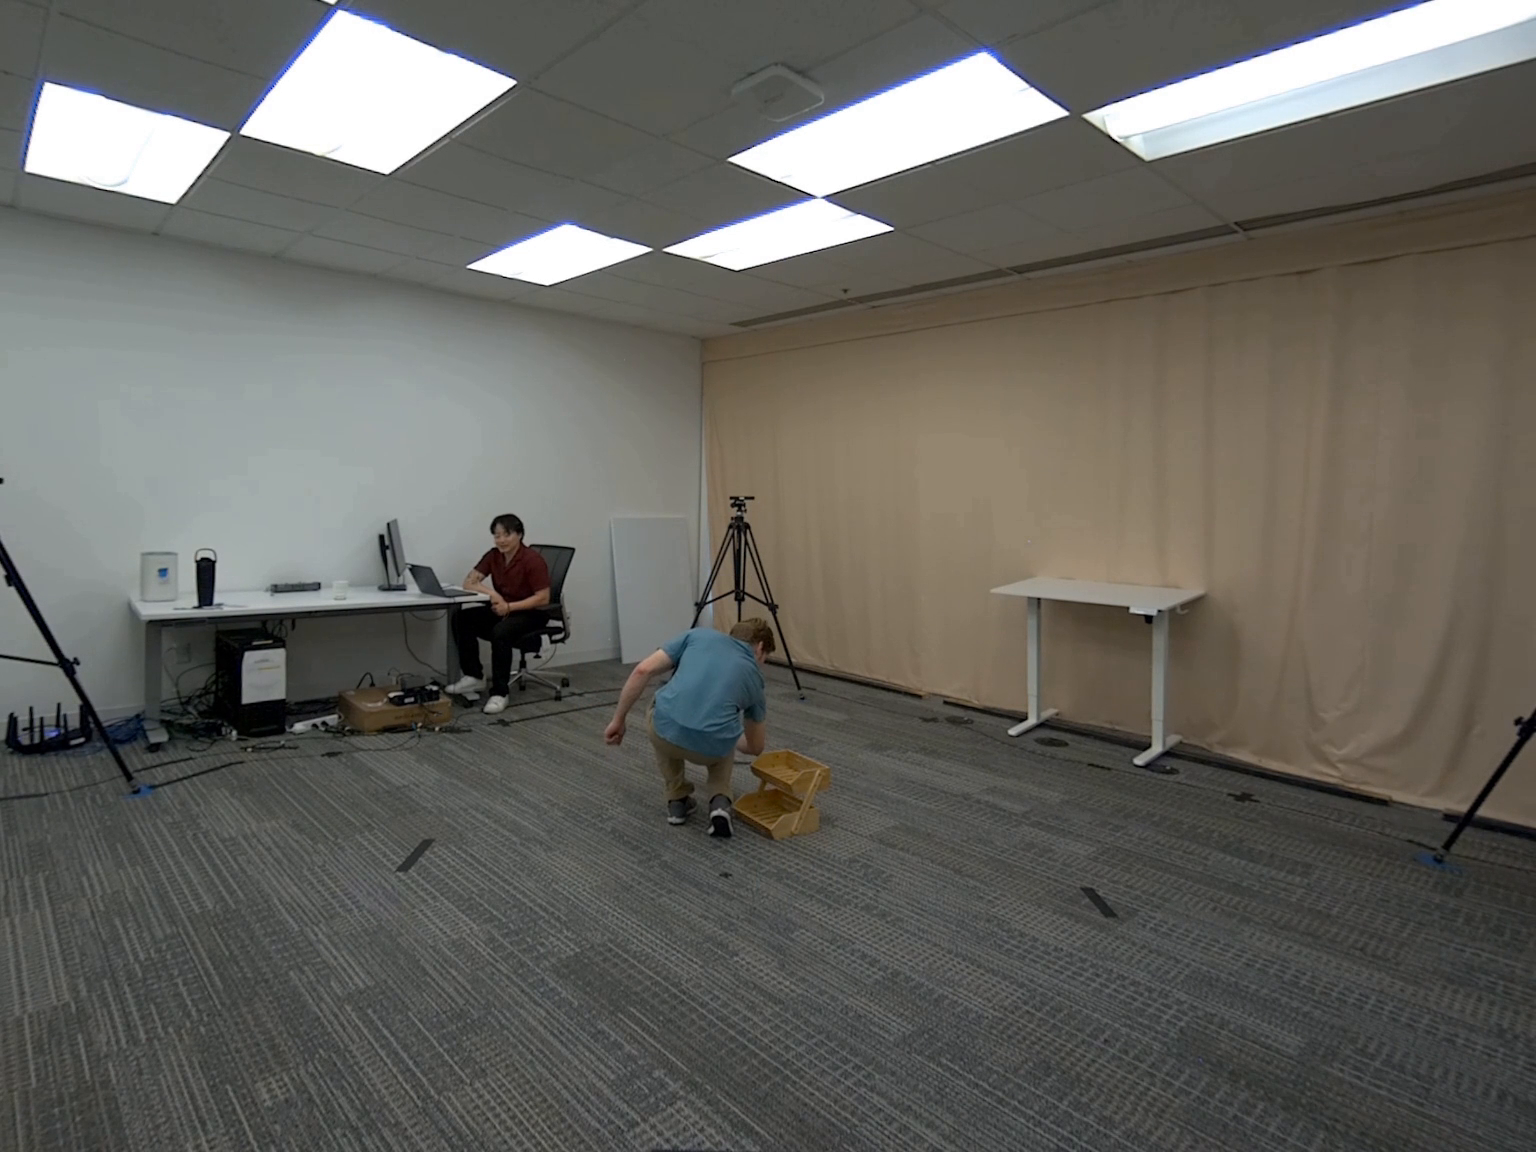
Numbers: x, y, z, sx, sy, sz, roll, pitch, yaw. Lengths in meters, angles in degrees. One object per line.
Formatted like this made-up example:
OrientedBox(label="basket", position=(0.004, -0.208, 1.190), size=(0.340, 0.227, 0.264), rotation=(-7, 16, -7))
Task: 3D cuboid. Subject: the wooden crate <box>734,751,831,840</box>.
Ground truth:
OrientedBox(label="wooden crate", position=(0.041, 0.928, 3.633), size=(0.295, 0.273, 0.332), rotation=(0, 4, -34))
